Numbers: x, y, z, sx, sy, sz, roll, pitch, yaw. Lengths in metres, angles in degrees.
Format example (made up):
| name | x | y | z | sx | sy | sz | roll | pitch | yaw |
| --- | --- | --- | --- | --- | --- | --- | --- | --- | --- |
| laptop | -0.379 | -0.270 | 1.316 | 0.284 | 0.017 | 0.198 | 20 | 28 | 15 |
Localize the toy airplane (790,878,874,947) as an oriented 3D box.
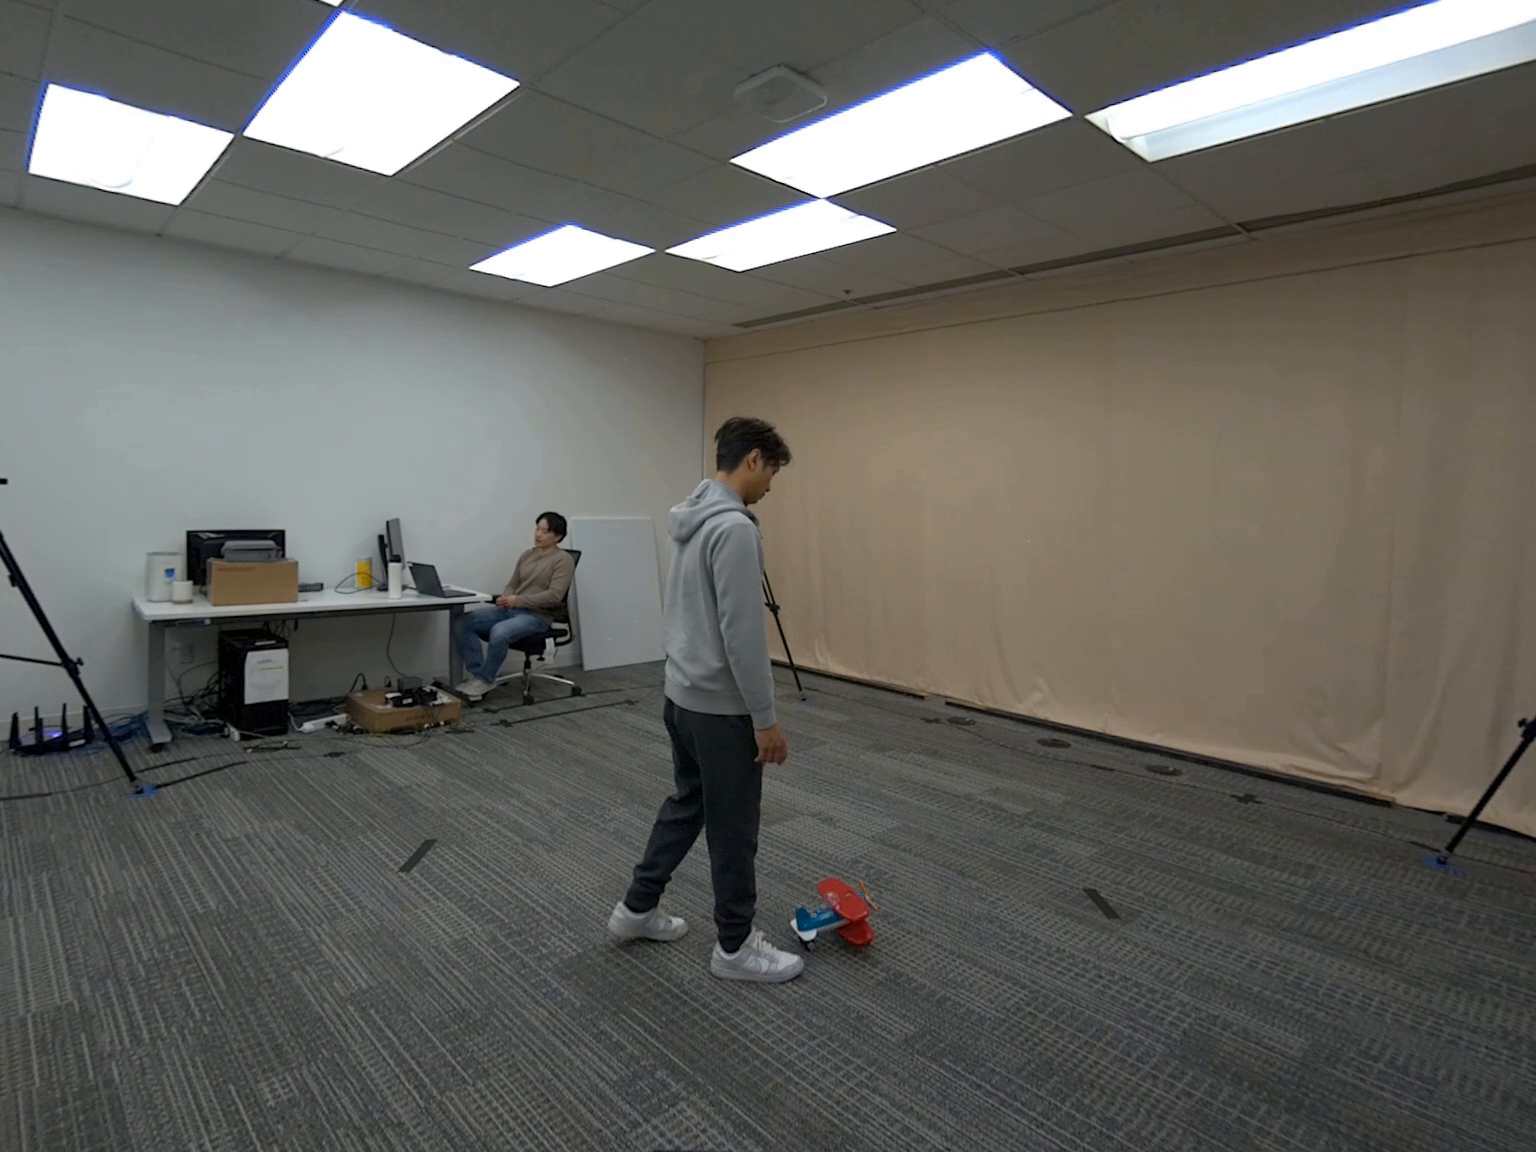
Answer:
| name | x | y | z | sx | sy | sz | roll | pitch | yaw |
| --- | --- | --- | --- | --- | --- | --- | --- | --- | --- |
| toy airplane | 0.209 | 1.083 | 2.640 | 0.257 | 0.156 | 0.253 | 7 | 7 | 41 |
